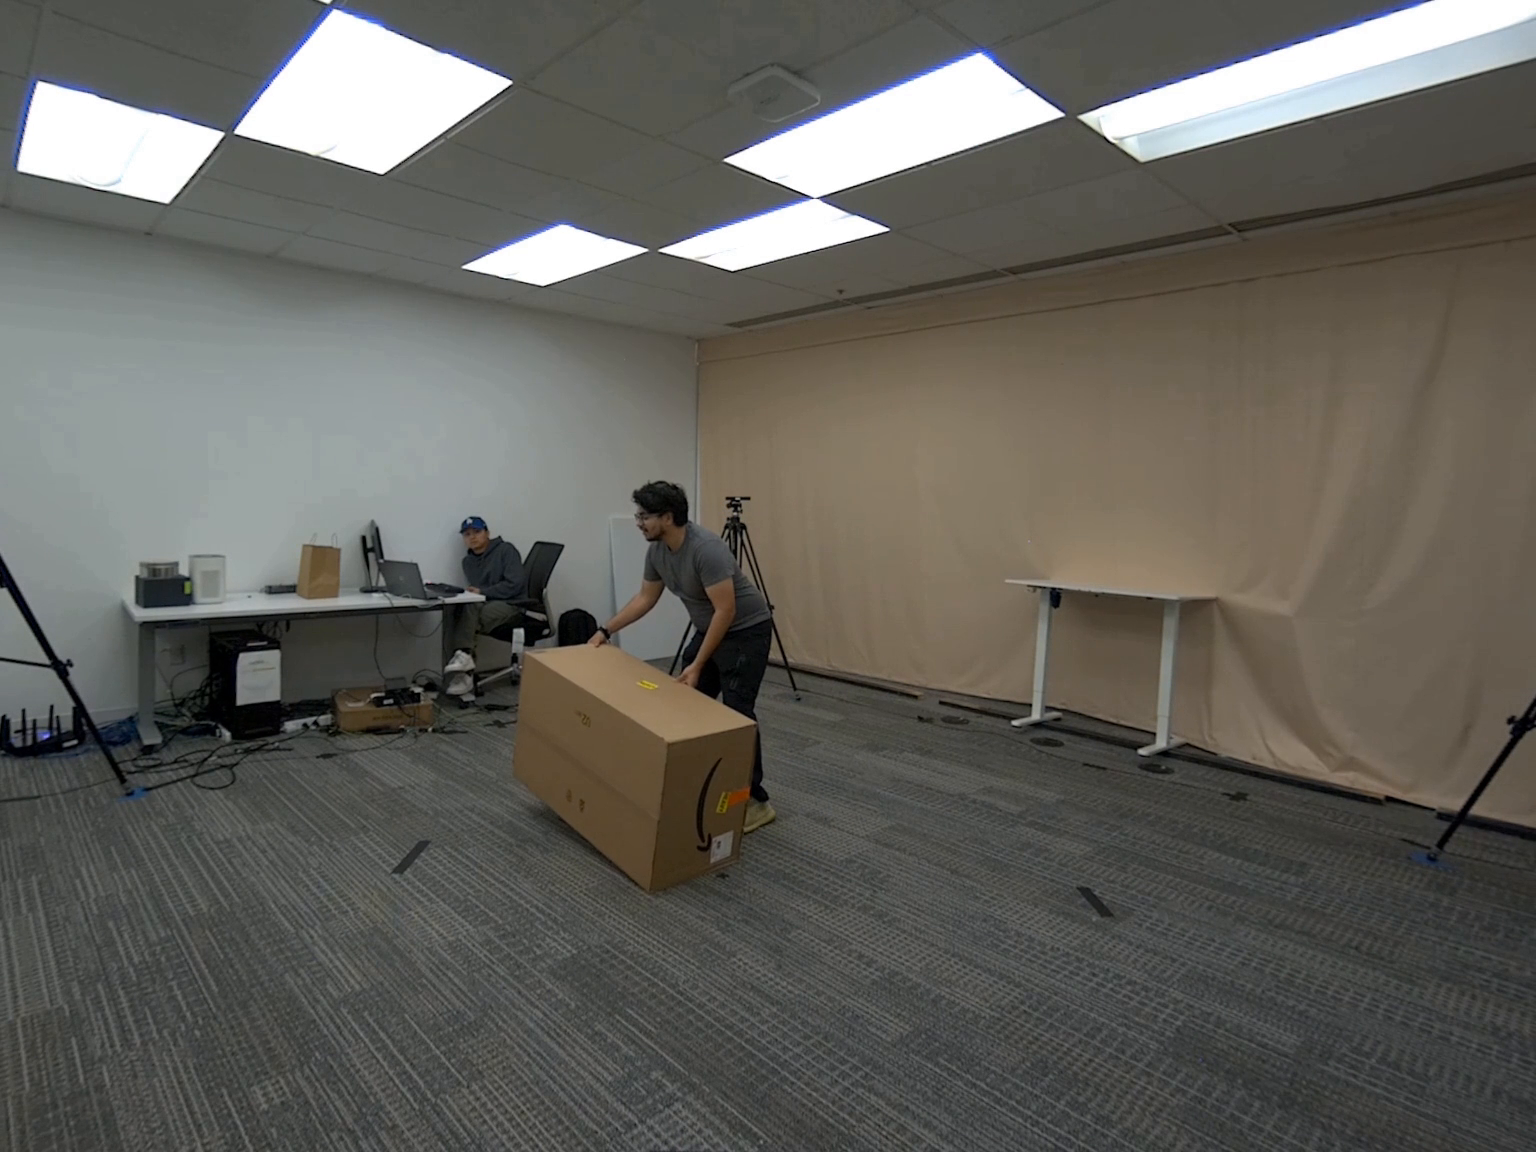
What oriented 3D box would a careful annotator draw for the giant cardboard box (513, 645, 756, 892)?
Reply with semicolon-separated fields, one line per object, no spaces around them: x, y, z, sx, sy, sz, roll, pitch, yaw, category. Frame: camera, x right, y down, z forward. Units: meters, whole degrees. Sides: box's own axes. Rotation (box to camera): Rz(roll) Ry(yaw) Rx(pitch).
-0.588;0.716;3.399;0.416;0.574;1.056;-2;14;-43;giant cardboard box
